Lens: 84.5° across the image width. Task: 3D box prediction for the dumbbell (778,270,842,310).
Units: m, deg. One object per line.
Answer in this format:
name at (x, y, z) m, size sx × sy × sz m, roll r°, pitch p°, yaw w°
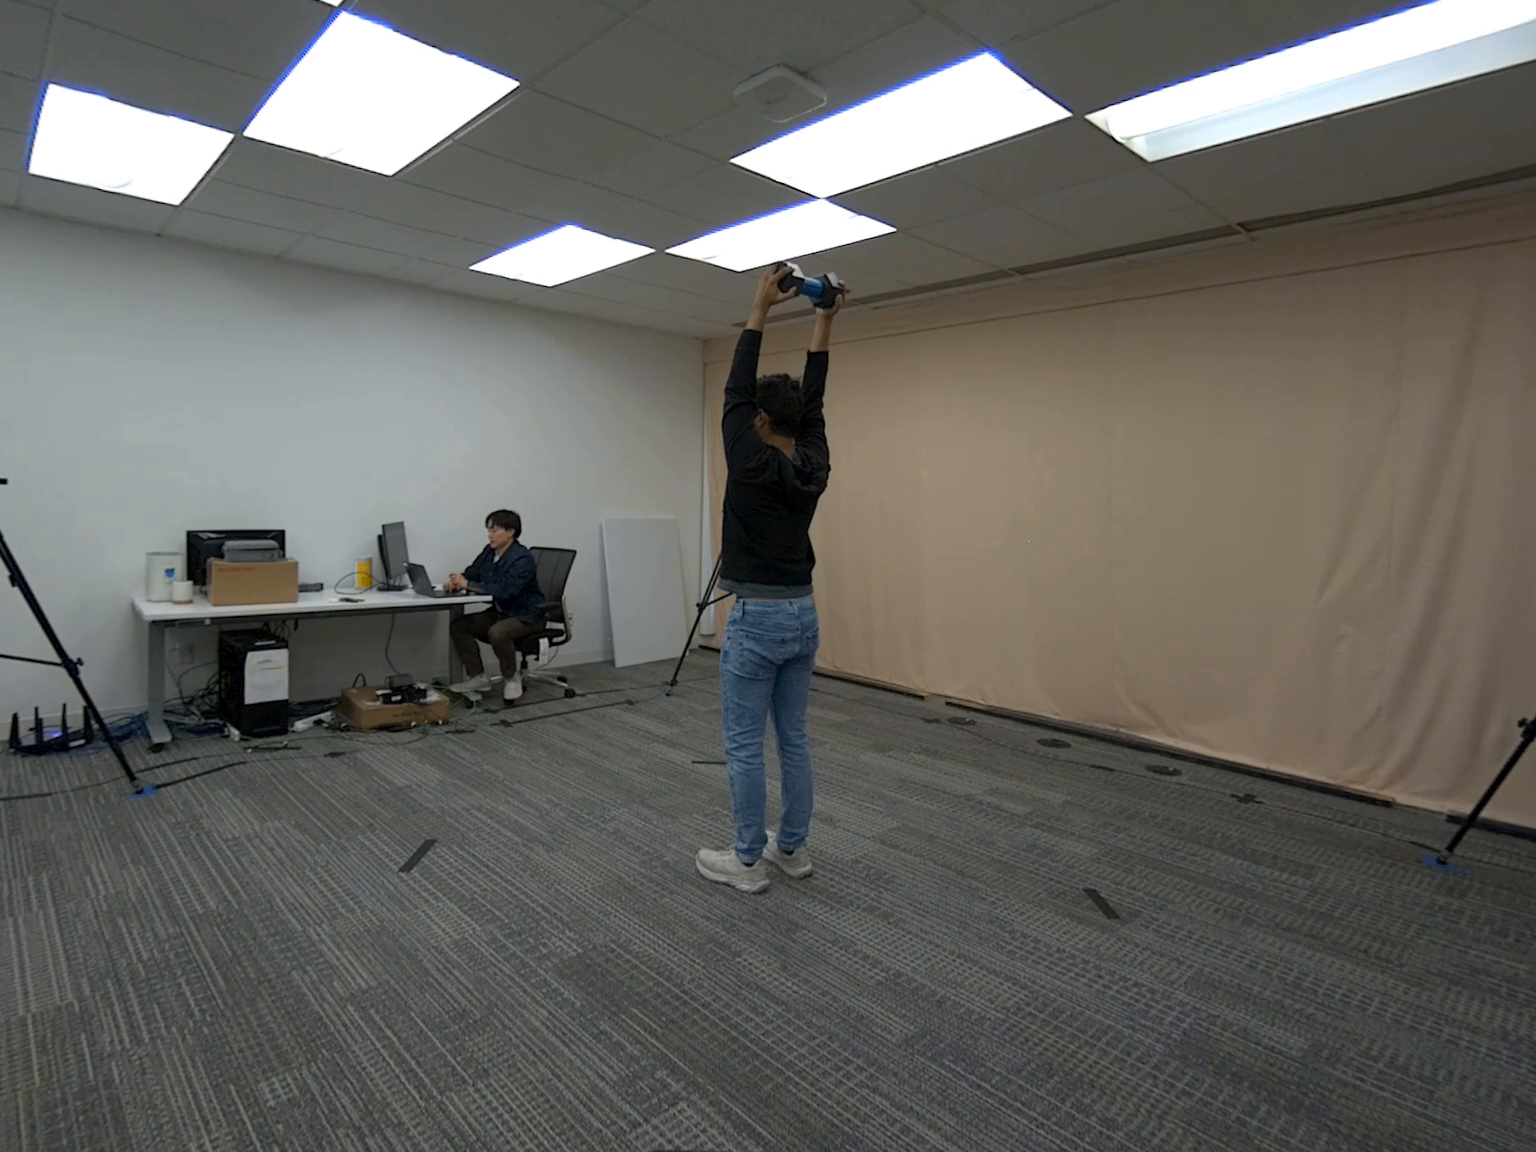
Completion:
dumbbell at (0.123, -1.012, 2.939) m, size 0.126 × 0.108 × 0.287 m, roll 0°, pitch 6°, yaw 43°
